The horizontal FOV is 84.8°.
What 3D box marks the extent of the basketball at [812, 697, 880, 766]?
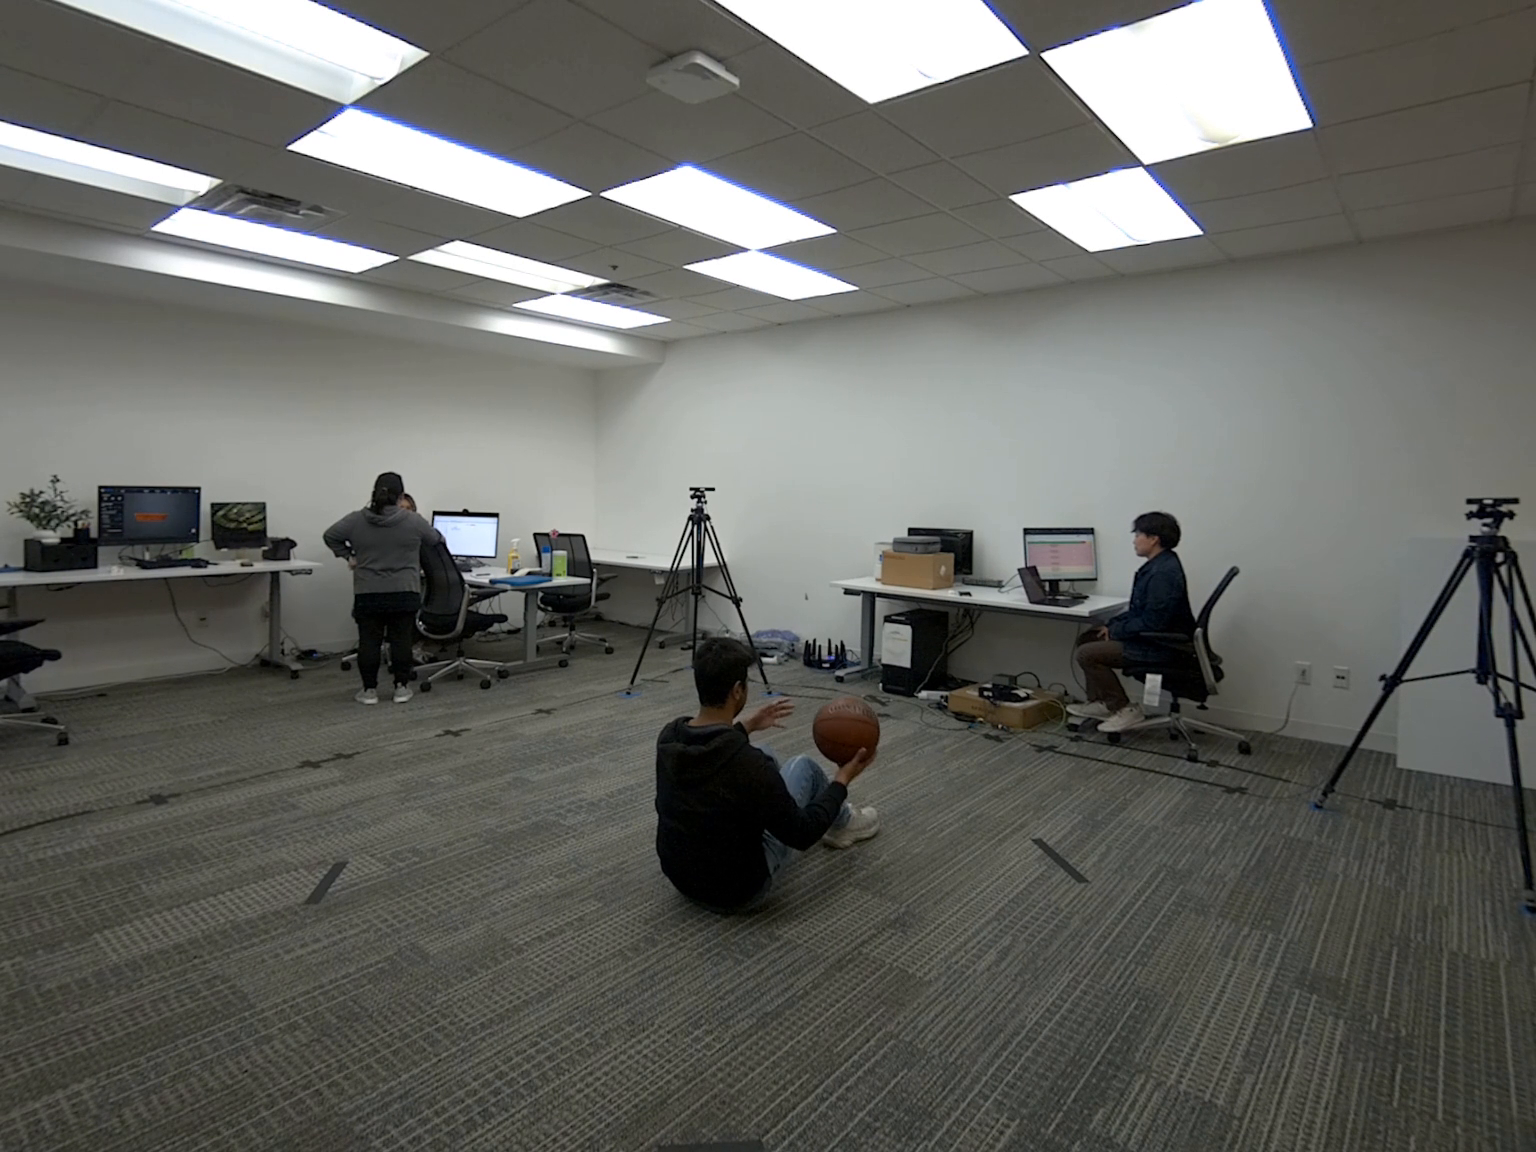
[{"bbox_3d":[0.261,0.552,3.037,0.235,0.235,0.237,1,4,-2],"label":"basketball"}]
